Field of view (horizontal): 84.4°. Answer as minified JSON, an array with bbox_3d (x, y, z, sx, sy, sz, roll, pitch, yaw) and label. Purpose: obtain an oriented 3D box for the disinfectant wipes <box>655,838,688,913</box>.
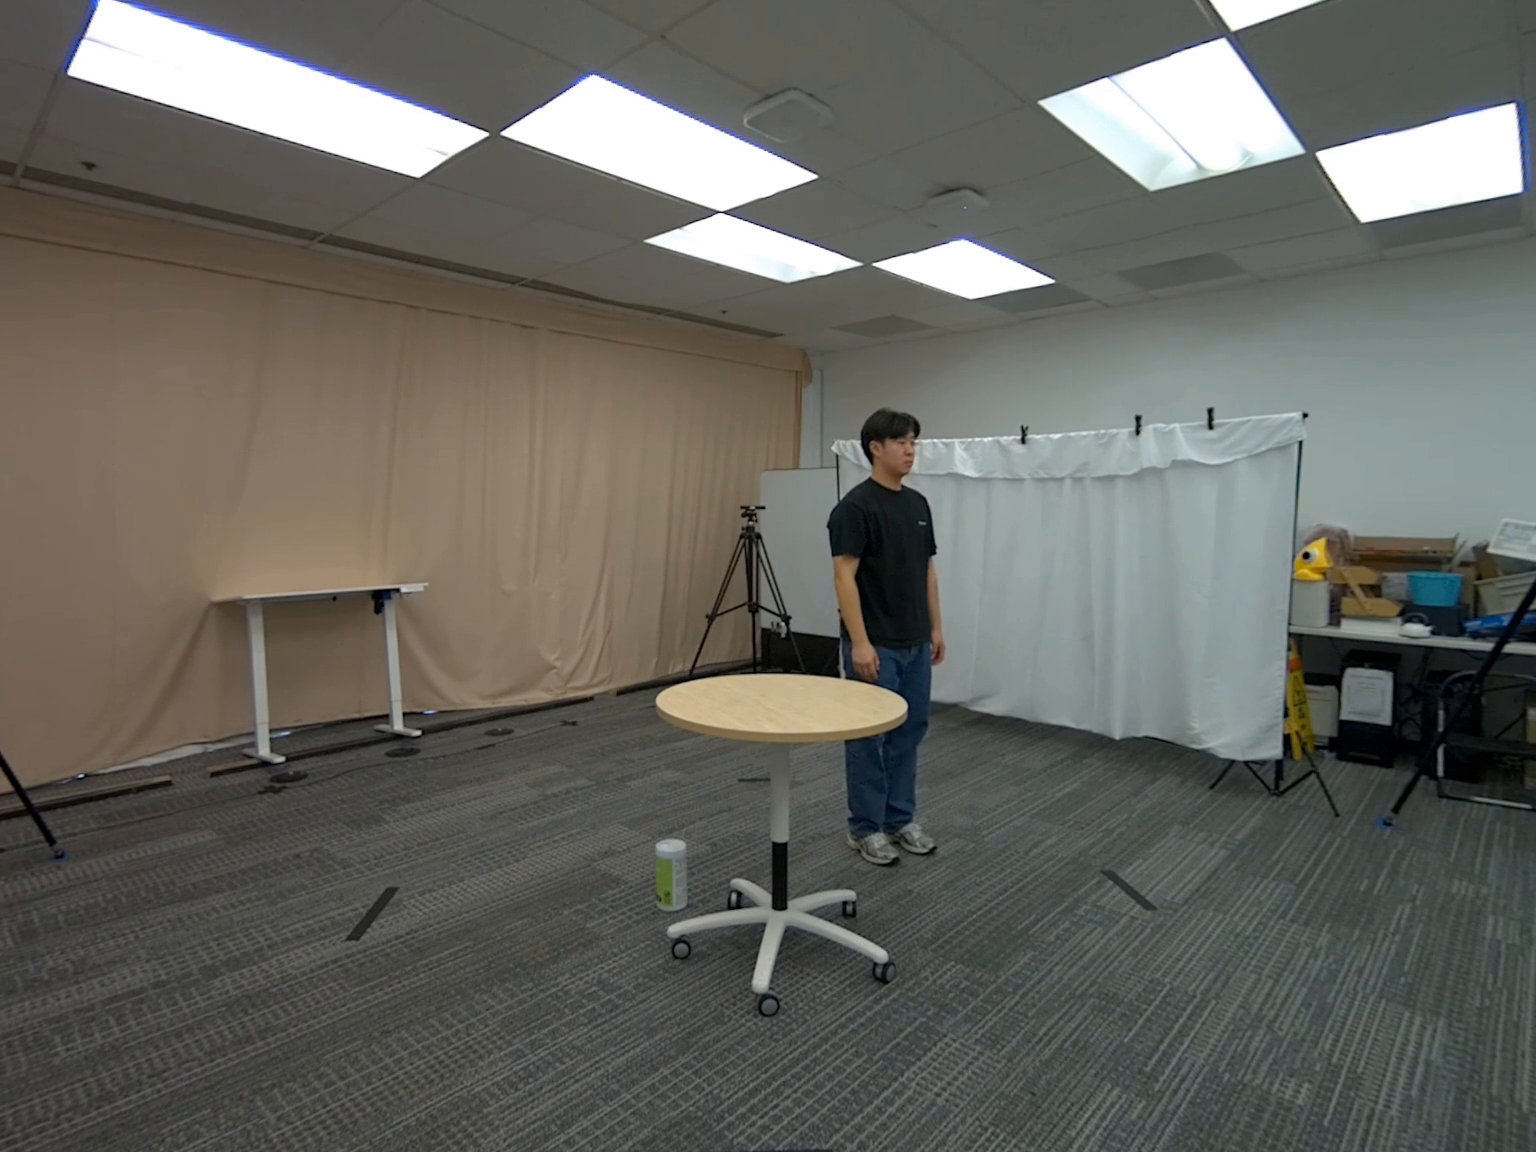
[{"bbox_3d":[-0.340,1.049,2.936,0.118,0.217,0.118,-1,4,-2],"label":"disinfectant wipes"}]
